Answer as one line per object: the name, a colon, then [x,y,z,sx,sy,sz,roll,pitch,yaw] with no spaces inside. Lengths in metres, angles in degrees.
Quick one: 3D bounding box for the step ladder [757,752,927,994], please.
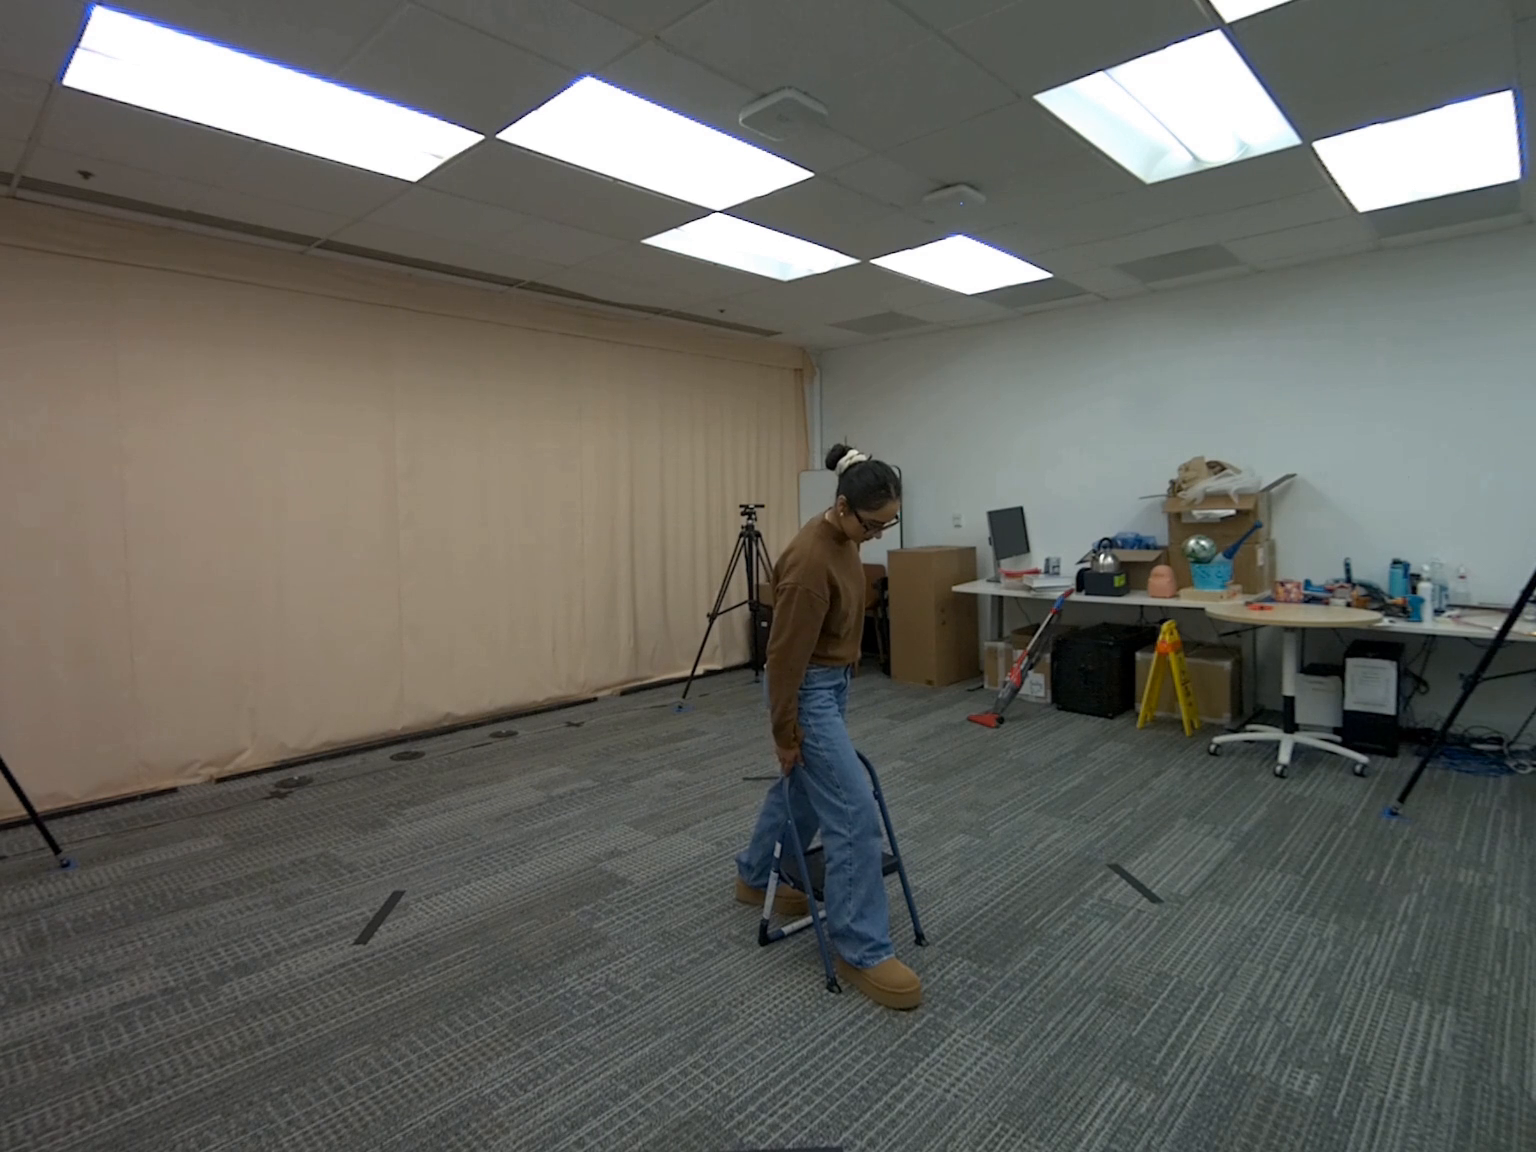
step ladder: [0.232,0.858,2.646,0.418,0.605,0.360,-4,3,-40]
